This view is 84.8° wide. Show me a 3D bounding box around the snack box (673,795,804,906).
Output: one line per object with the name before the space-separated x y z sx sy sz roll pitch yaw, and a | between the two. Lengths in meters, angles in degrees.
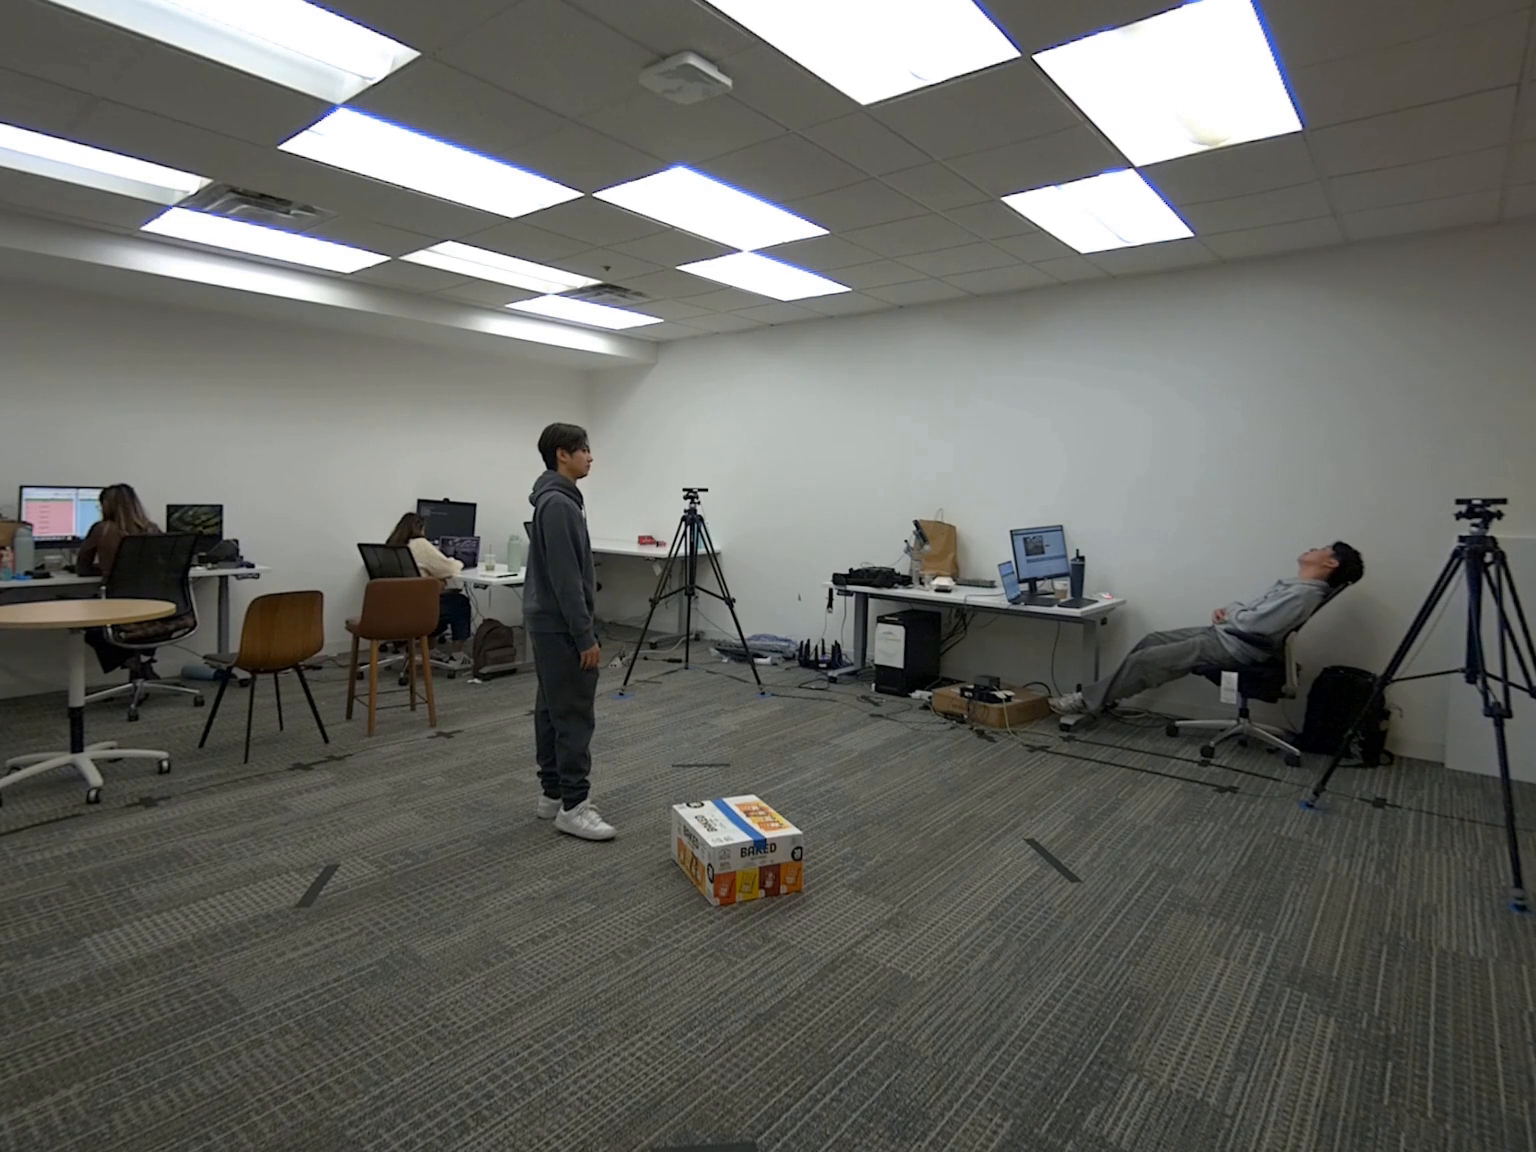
snack box | -0.129 0.972 3.069 0.332 0.205 0.416 -1 6 -25
